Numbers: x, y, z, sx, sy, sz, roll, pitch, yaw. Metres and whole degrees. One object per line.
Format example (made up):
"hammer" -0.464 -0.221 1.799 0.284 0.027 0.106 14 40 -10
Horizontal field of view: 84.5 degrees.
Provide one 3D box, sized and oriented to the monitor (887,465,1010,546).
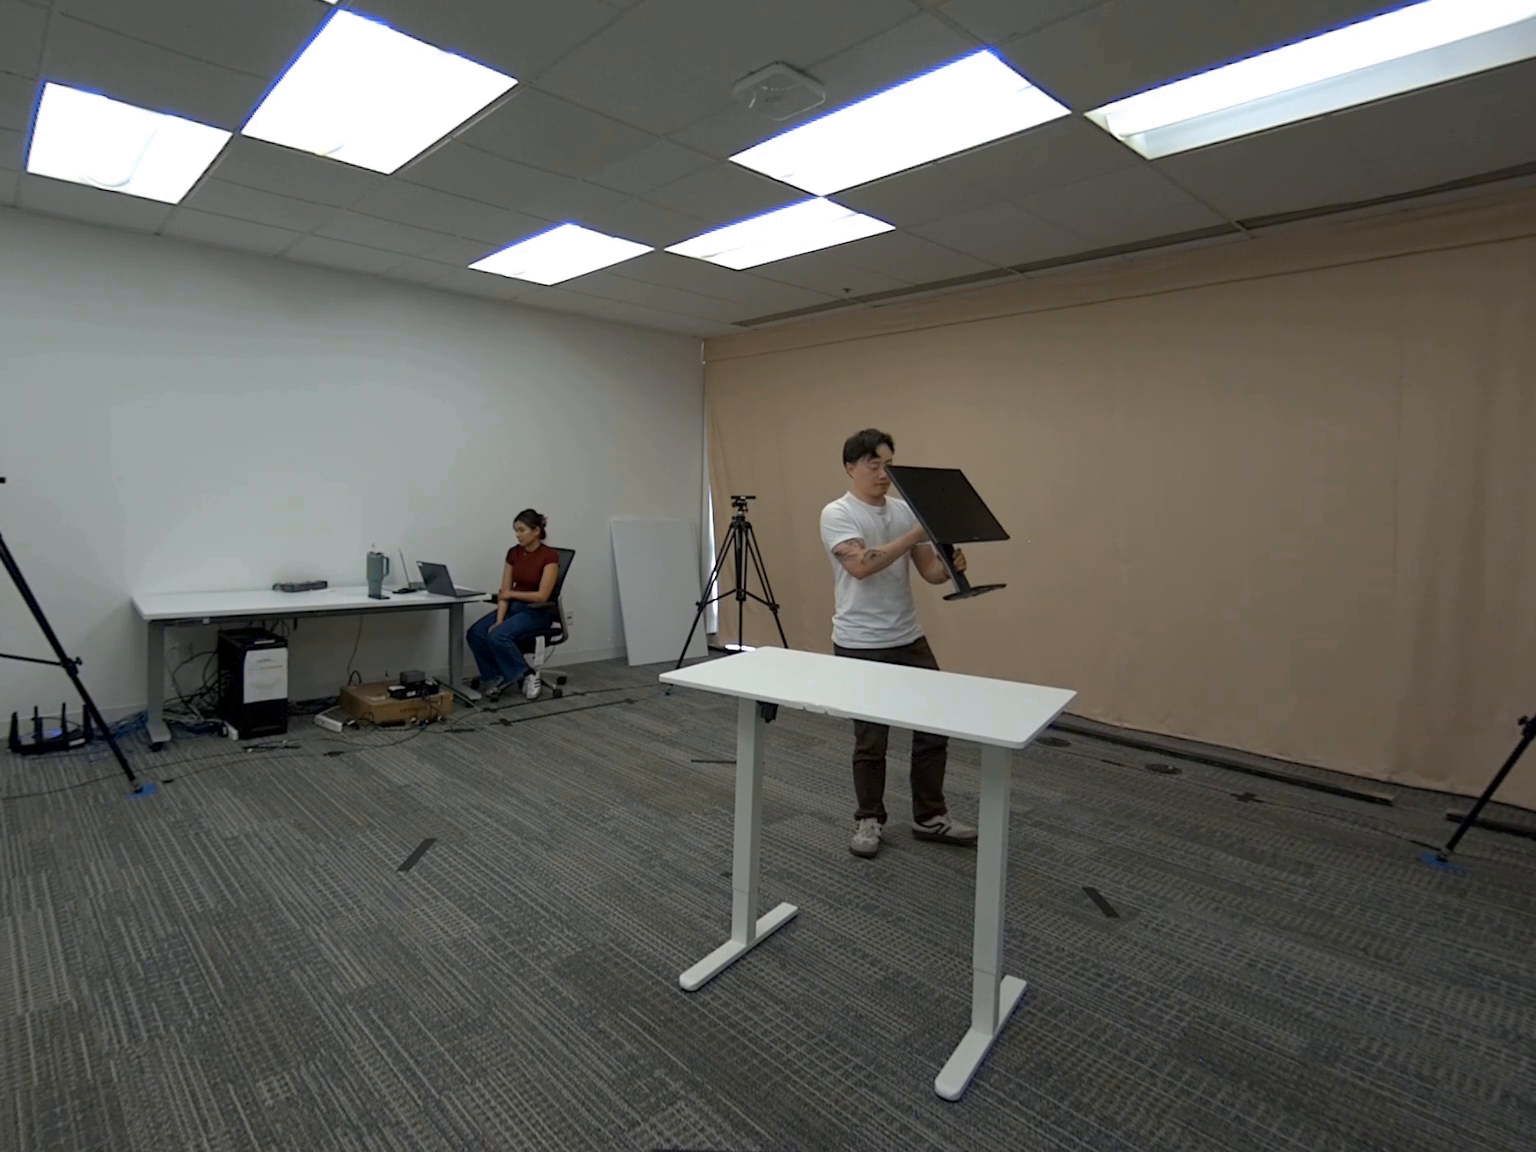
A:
"monitor" 0.677 -0.169 3.150 0.189 0.530 0.526 -29 -18 38
